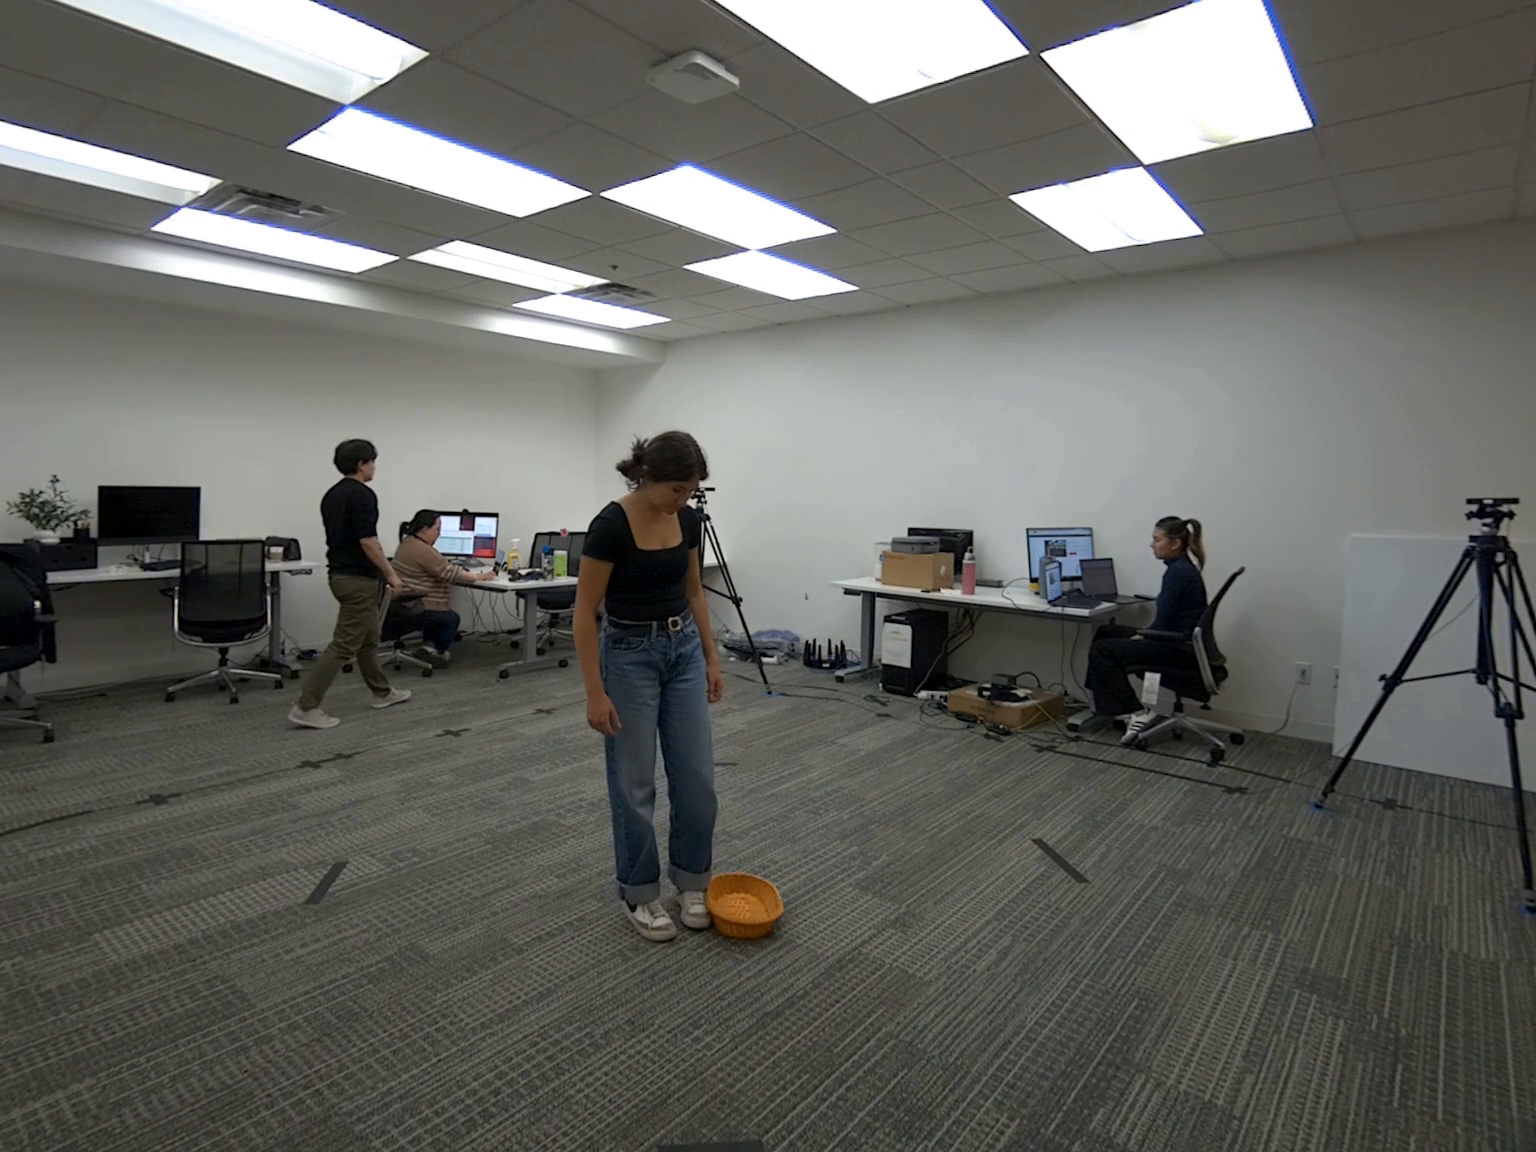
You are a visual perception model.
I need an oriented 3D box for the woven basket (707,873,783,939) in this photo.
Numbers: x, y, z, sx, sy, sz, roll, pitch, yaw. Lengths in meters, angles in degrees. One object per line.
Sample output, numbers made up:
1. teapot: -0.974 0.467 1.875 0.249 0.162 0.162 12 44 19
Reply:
1. woven basket: -0.081 1.065 2.752 0.251 0.073 0.353 2 5 -4
